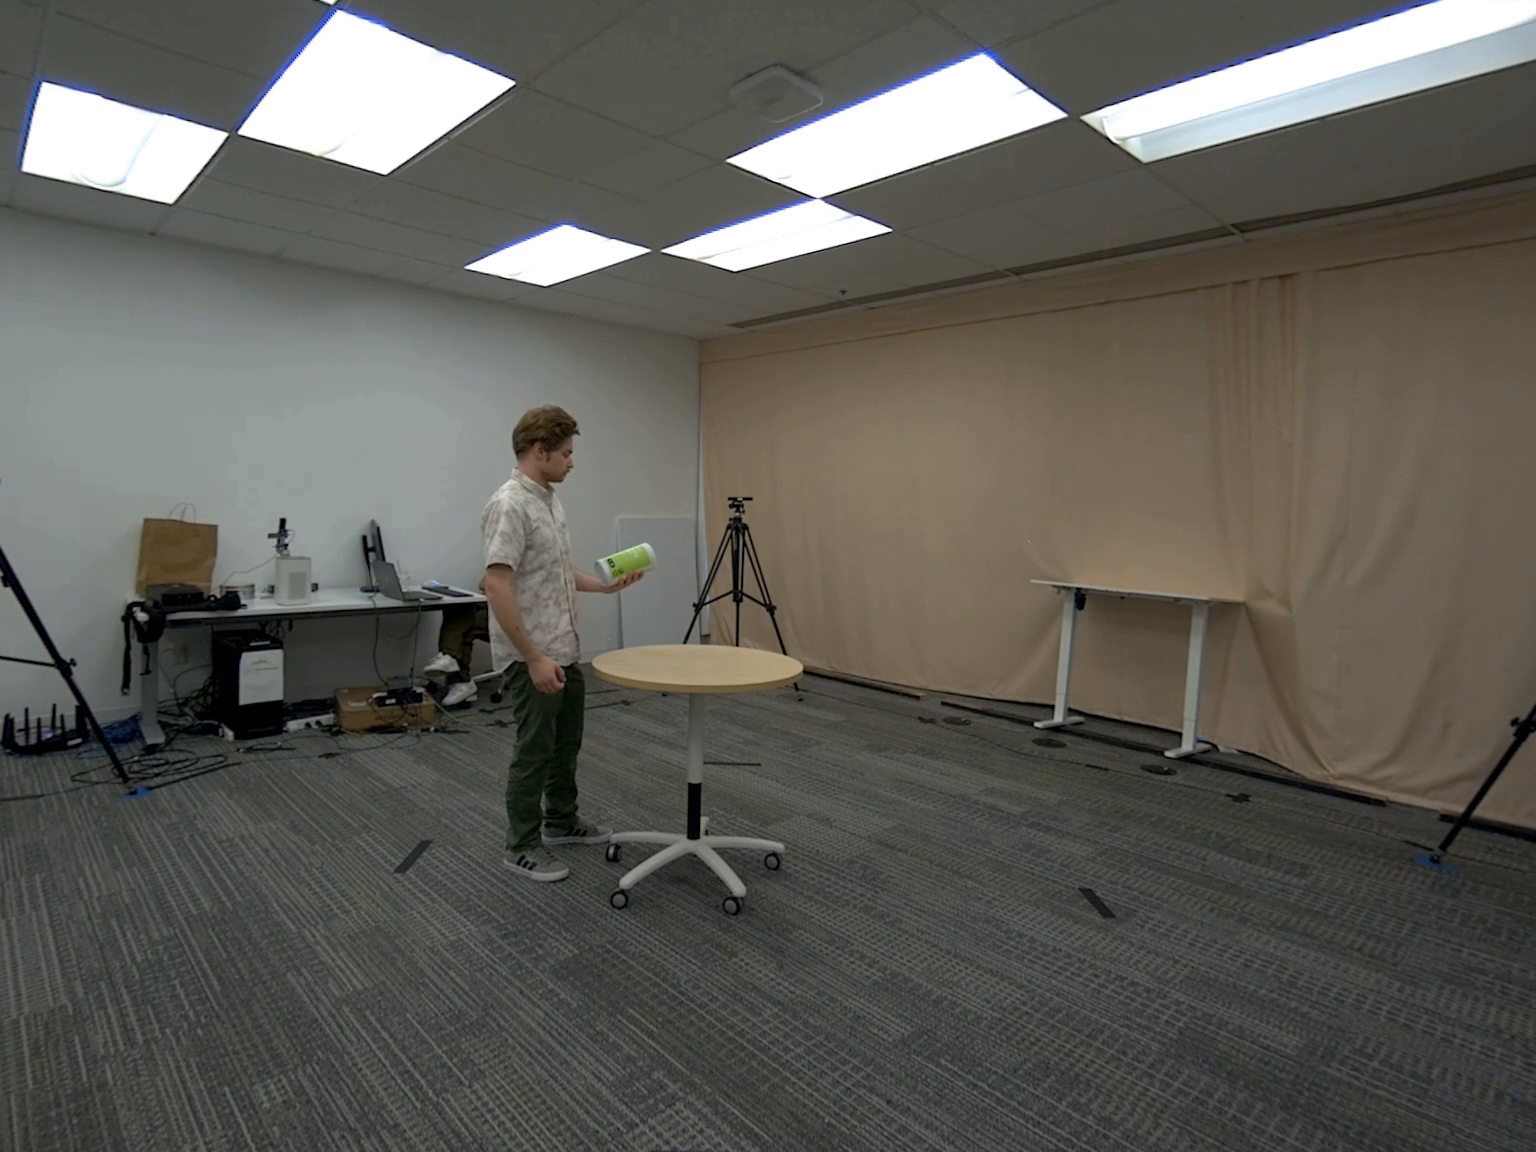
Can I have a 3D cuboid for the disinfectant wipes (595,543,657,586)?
[{"bbox_3d":[-0.548,-0.045,3.191,0.215,0.116,0.120,-22,15,-27],"label":"disinfectant wipes"}]
